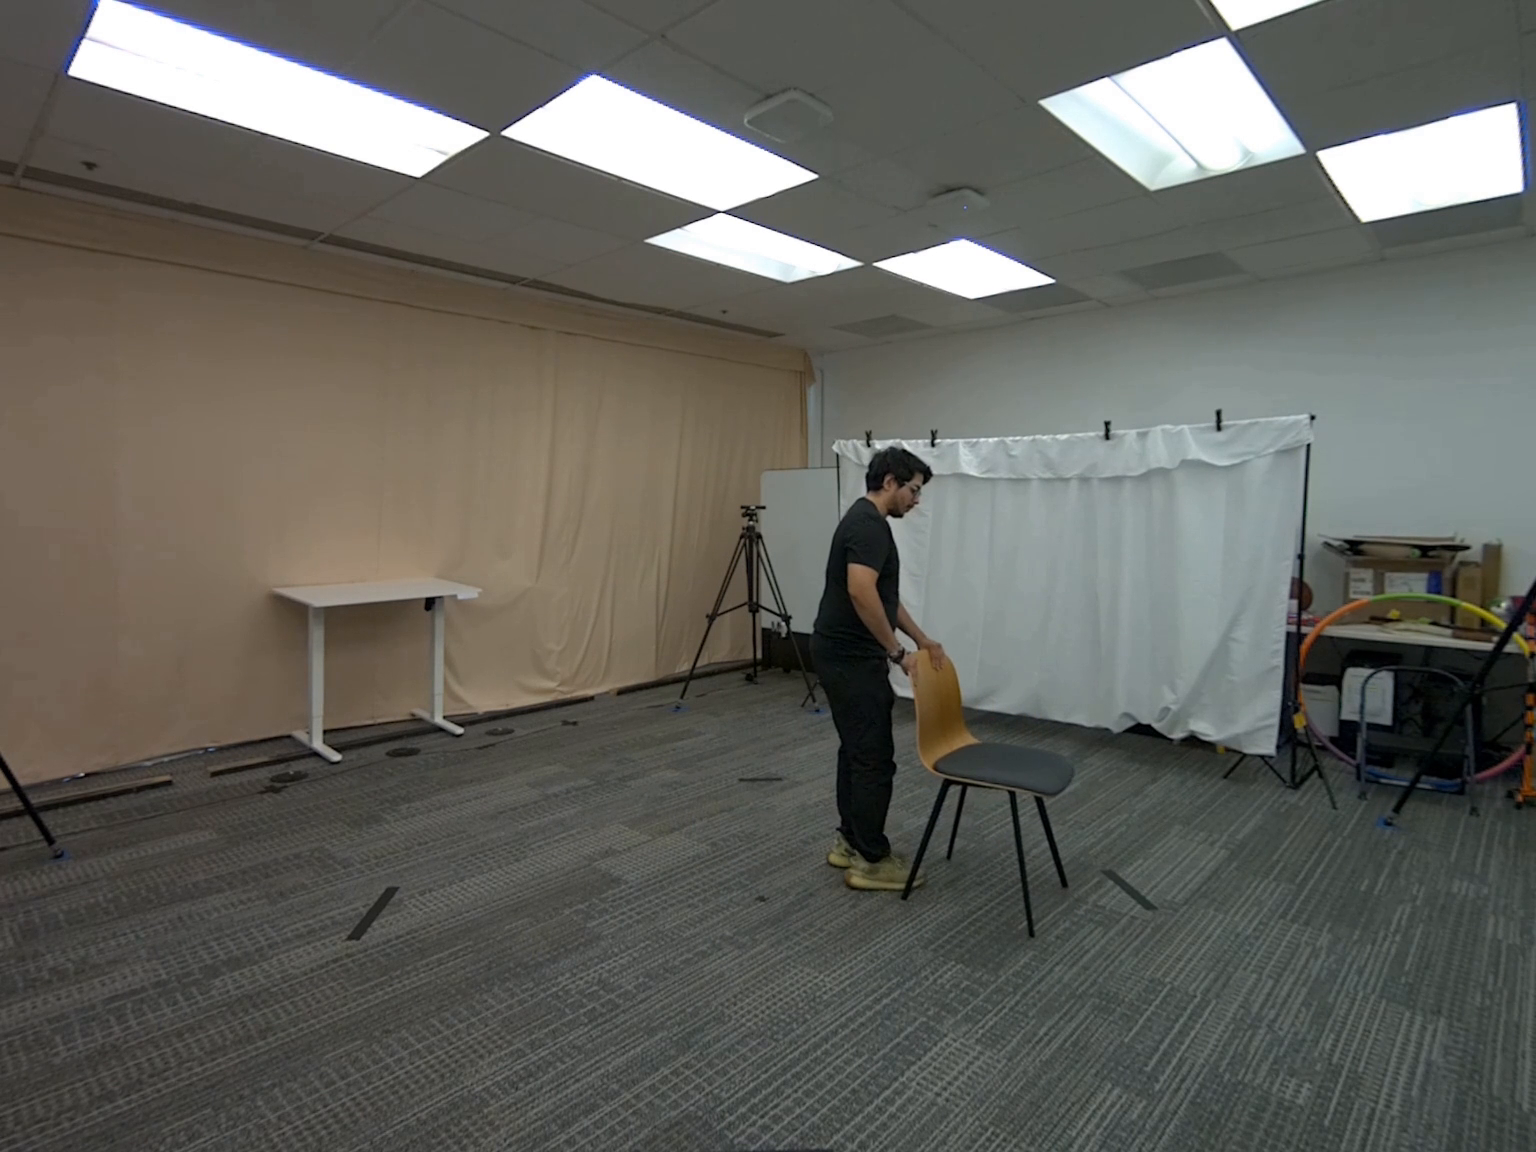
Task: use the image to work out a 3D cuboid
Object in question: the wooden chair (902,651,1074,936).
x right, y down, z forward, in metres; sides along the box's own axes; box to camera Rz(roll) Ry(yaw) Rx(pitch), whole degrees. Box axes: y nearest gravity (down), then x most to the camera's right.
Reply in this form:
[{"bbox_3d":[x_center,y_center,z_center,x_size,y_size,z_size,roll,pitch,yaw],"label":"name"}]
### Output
[{"bbox_3d":[0.797,0.712,2.985,0.538,0.877,0.464,-3,0,34],"label":"wooden chair"}]
